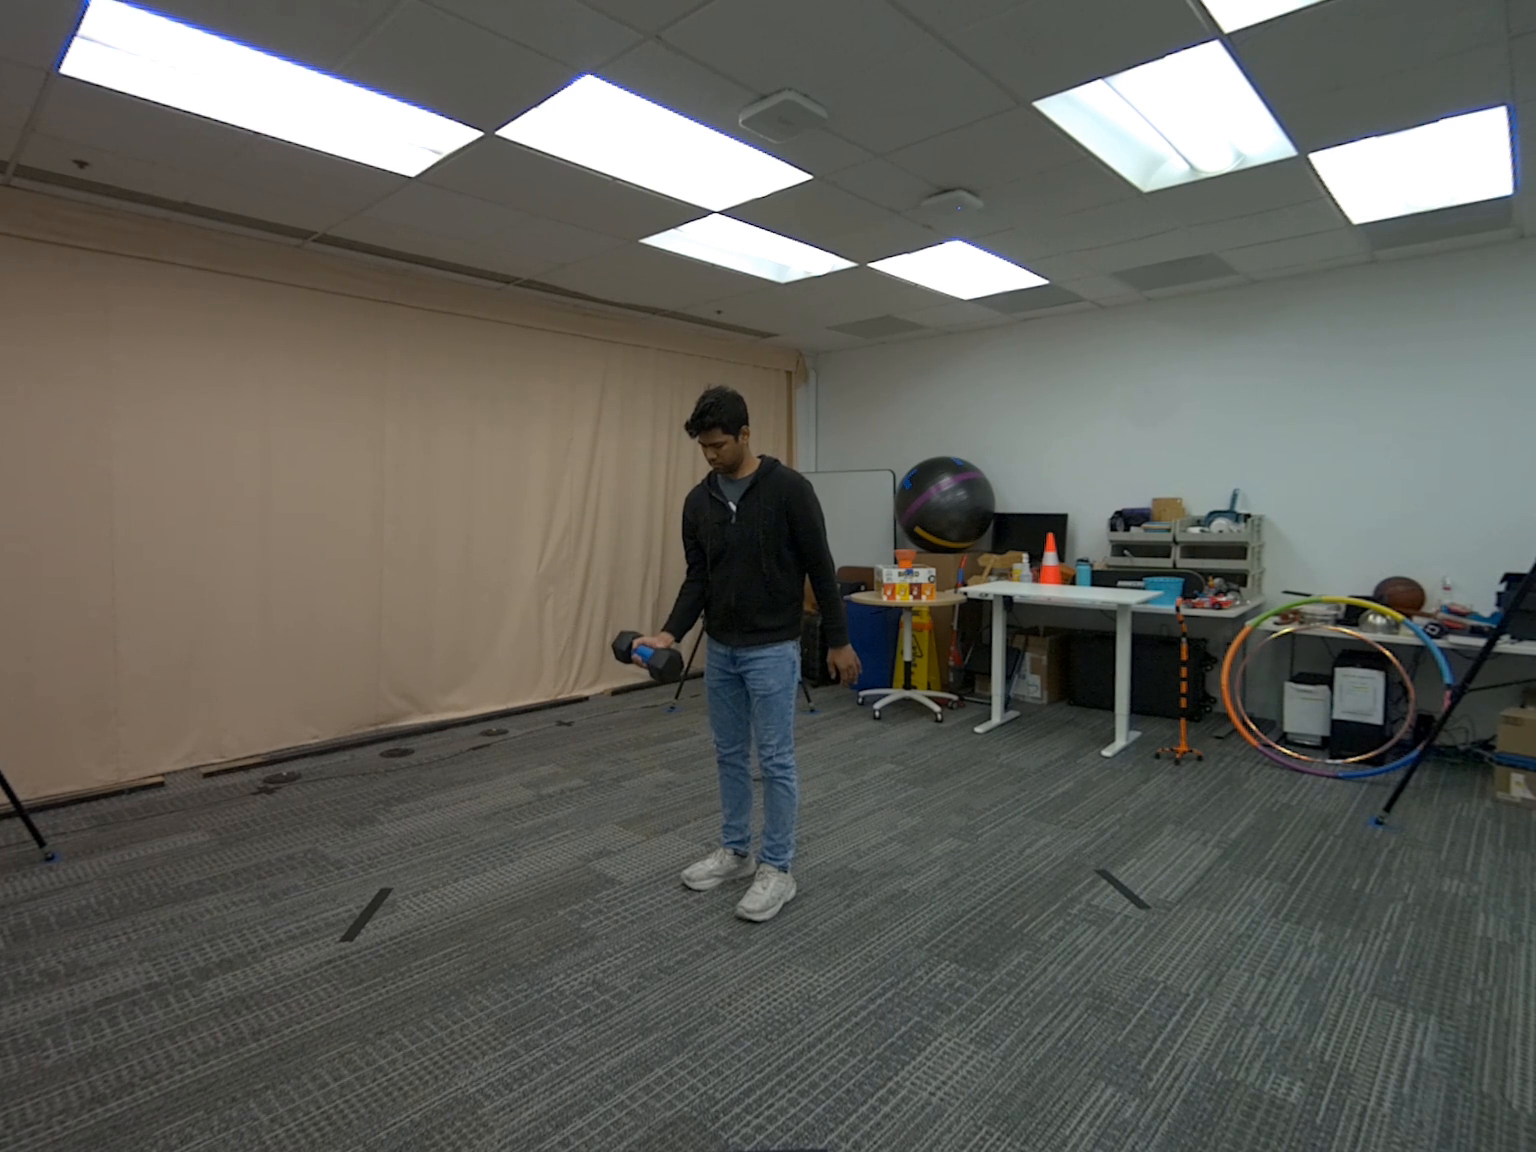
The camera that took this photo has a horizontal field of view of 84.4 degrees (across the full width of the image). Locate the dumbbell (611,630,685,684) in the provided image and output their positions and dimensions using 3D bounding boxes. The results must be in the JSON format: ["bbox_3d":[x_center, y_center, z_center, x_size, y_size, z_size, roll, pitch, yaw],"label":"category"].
[{"bbox_3d":[-0.412,0.266,2.931,0.304,0.123,0.105,17,-22,44],"label":"dumbbell"}]
